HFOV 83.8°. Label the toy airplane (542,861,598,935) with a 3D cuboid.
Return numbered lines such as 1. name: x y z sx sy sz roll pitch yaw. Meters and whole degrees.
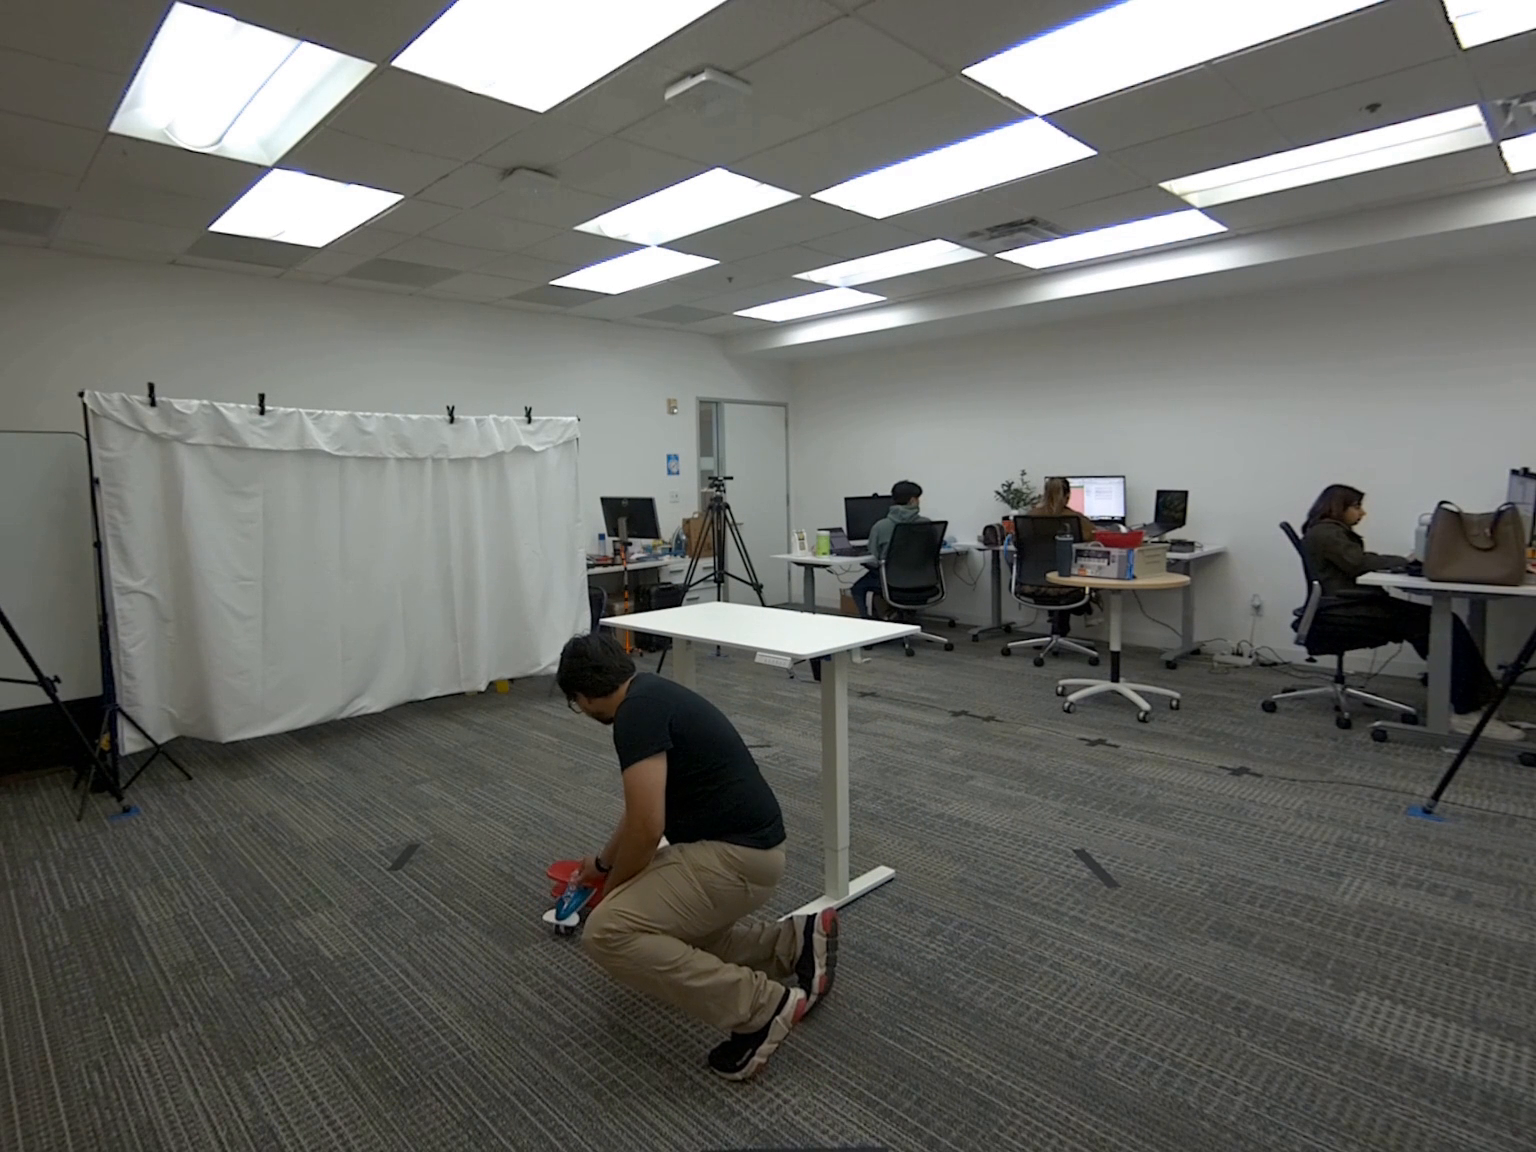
1. toy airplane: -0.575 1.020 2.718 0.249 0.156 0.263 -1 5 -11
